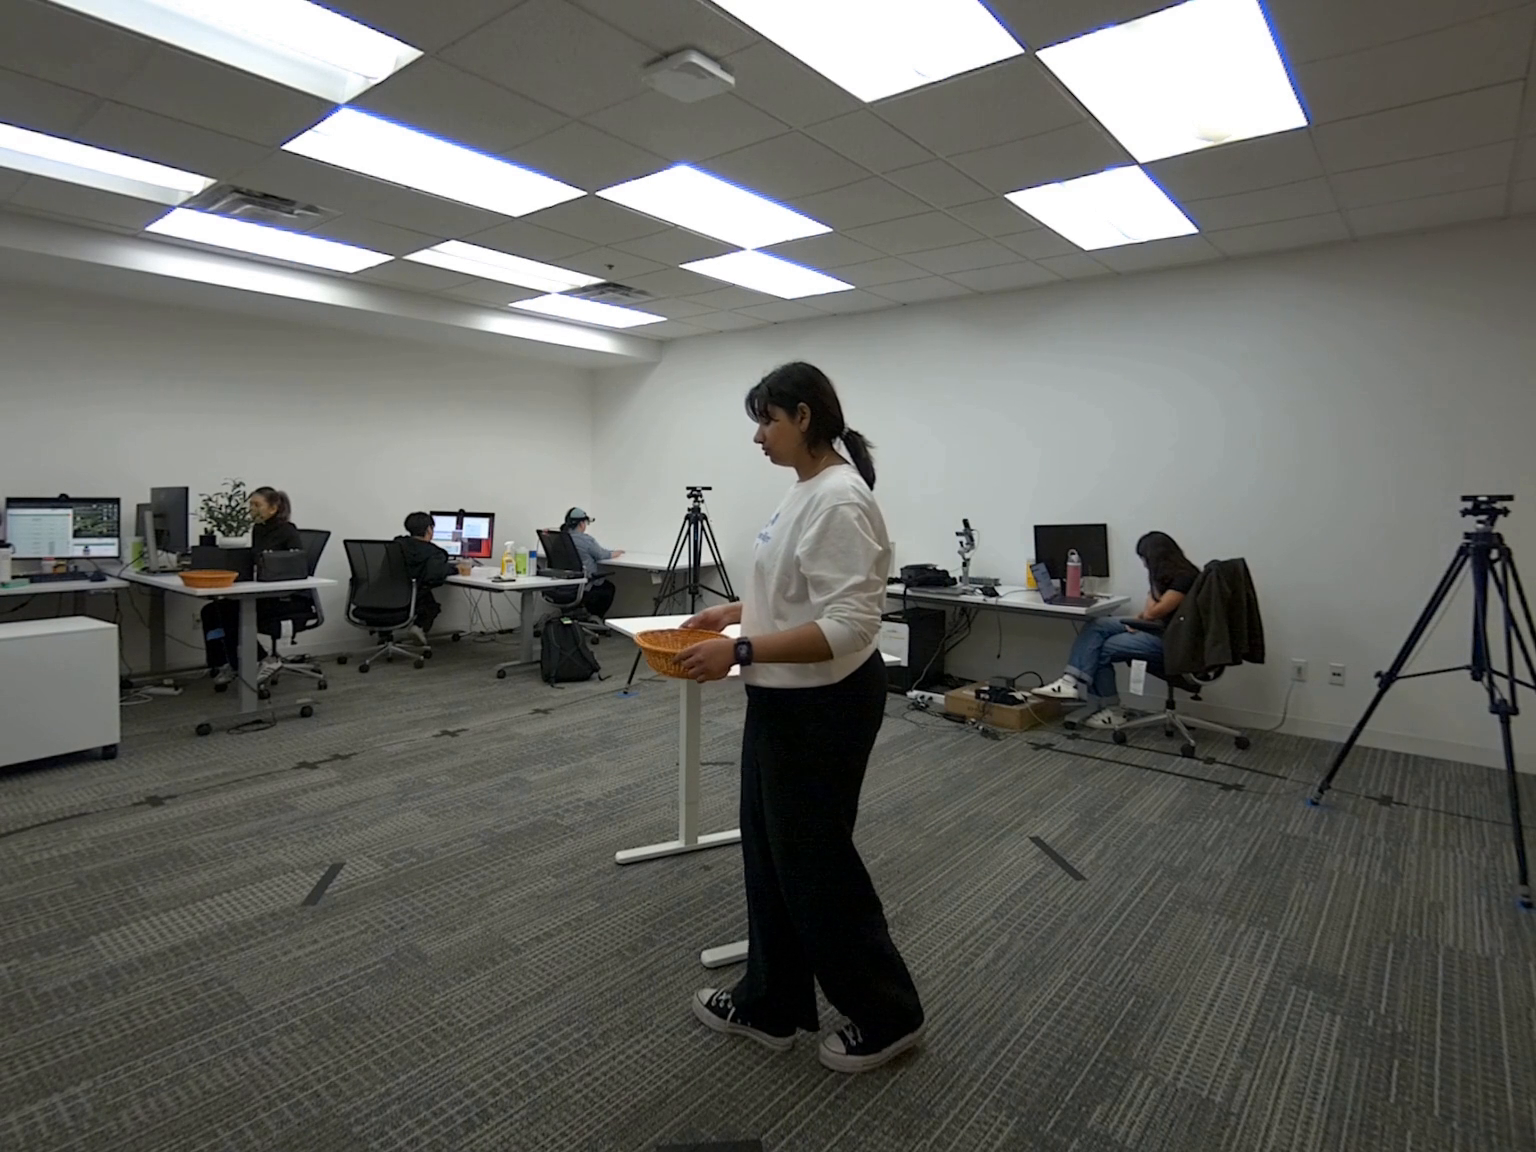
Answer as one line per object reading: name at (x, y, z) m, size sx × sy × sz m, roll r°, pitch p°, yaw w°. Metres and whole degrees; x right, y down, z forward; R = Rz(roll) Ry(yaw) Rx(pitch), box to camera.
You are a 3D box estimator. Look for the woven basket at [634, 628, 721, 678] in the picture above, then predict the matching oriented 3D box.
woven basket at (-0.180, 0.191, 2.026) m, size 0.248 × 0.073 × 0.356 m, roll 1°, pitch 4°, yaw -15°
